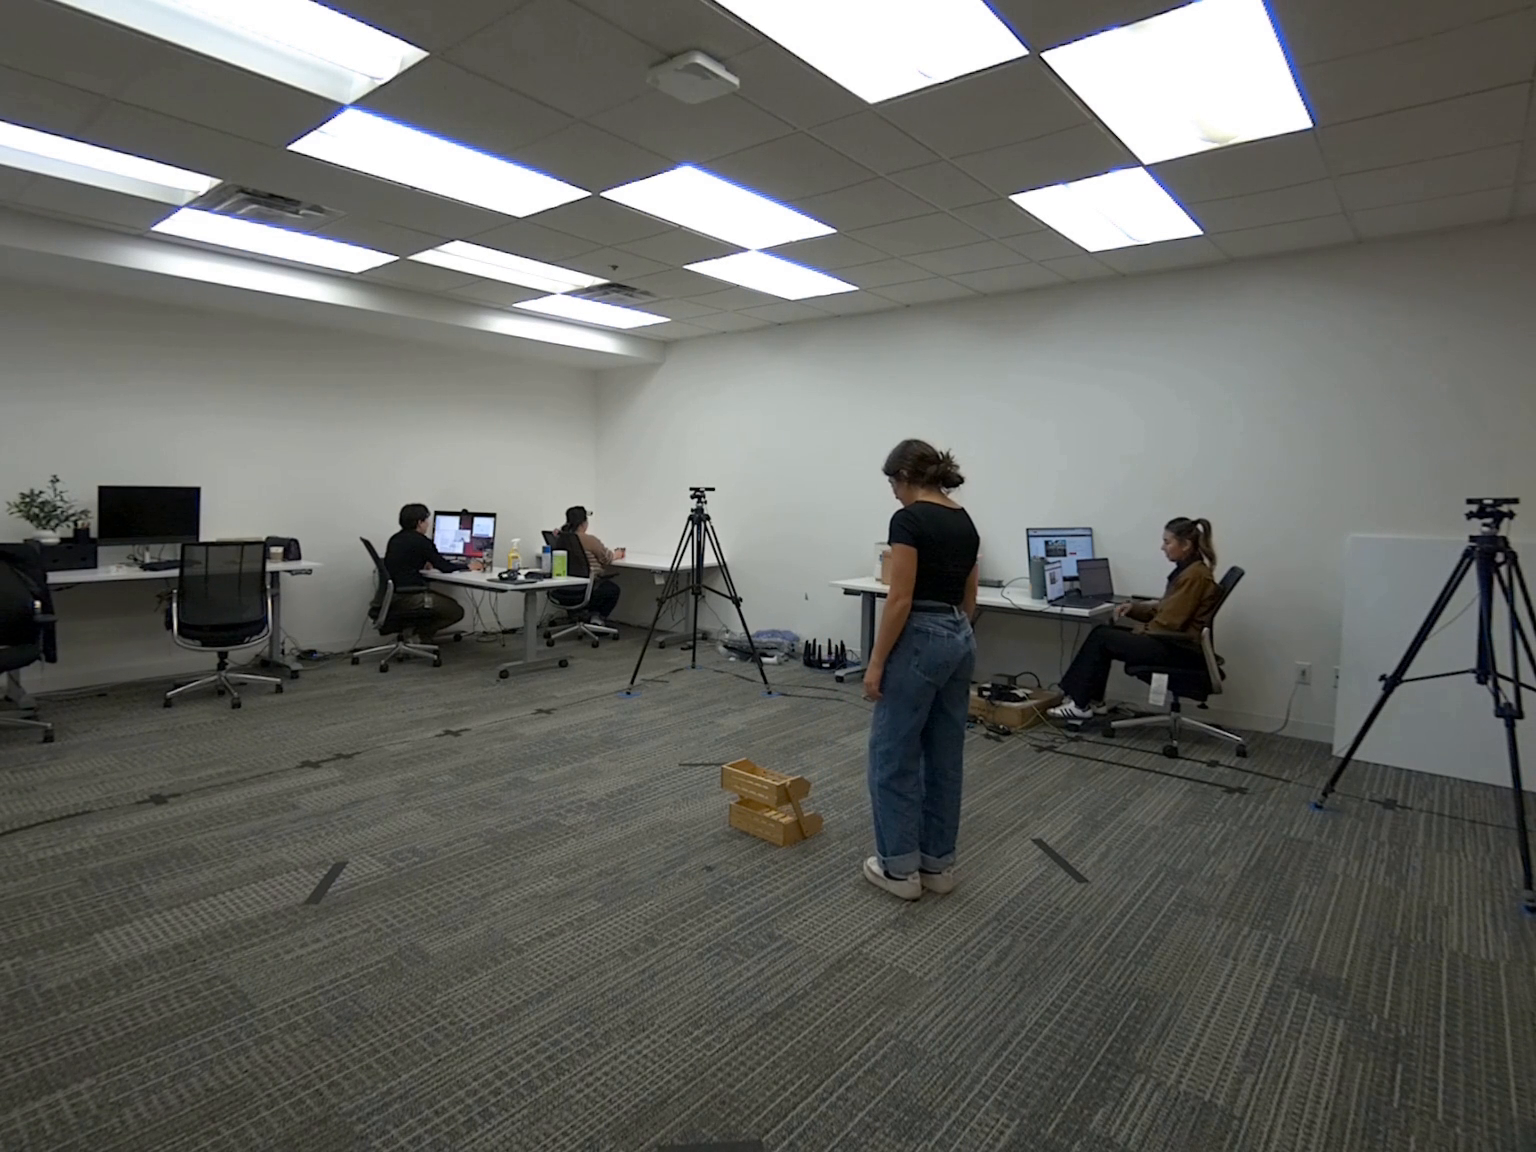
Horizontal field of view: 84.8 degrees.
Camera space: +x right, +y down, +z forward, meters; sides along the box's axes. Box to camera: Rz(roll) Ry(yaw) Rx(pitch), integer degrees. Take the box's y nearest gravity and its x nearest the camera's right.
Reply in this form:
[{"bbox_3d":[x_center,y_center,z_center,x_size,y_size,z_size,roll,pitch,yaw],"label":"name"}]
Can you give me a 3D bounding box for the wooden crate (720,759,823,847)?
[{"bbox_3d":[0.011,0.901,3.479,0.335,0.272,0.293,5,6,42],"label":"wooden crate"}]
